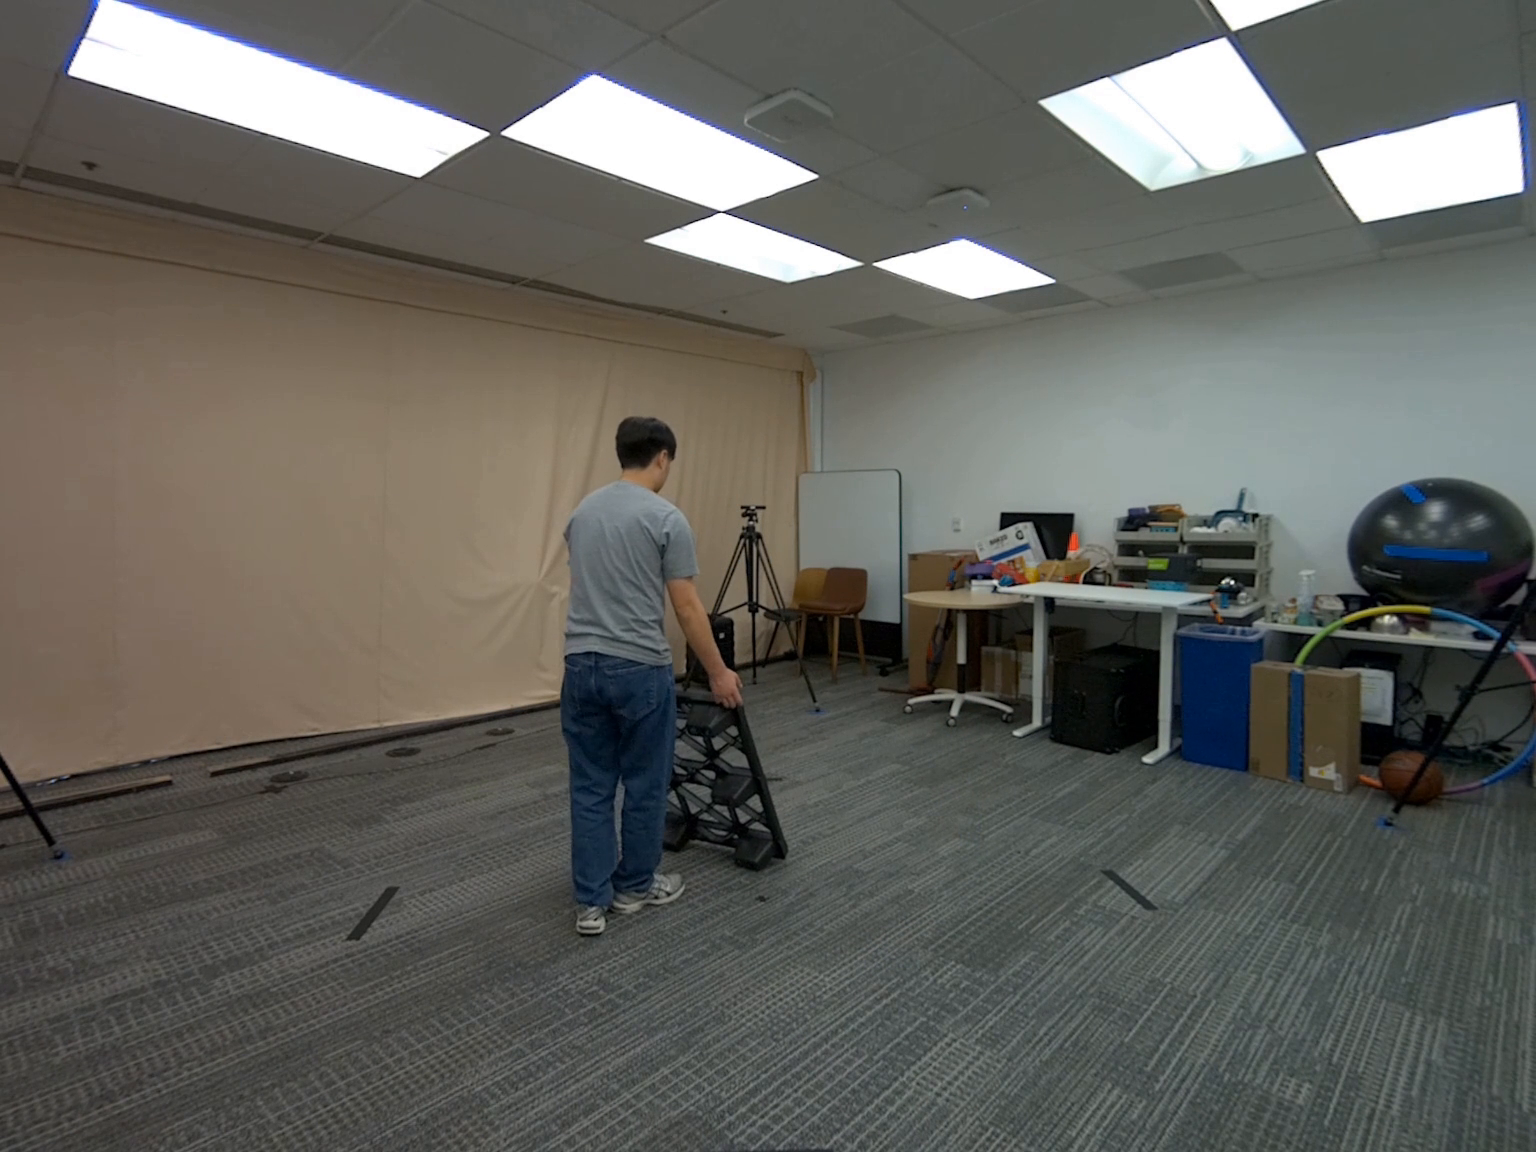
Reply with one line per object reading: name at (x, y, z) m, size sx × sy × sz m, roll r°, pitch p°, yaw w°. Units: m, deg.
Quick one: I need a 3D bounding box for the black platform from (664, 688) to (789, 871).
black platform at (-0.296, 0.777, 3.196) m, size 0.622 × 0.788 × 0.142 m, roll 2°, pitch 32°, yaw 28°
